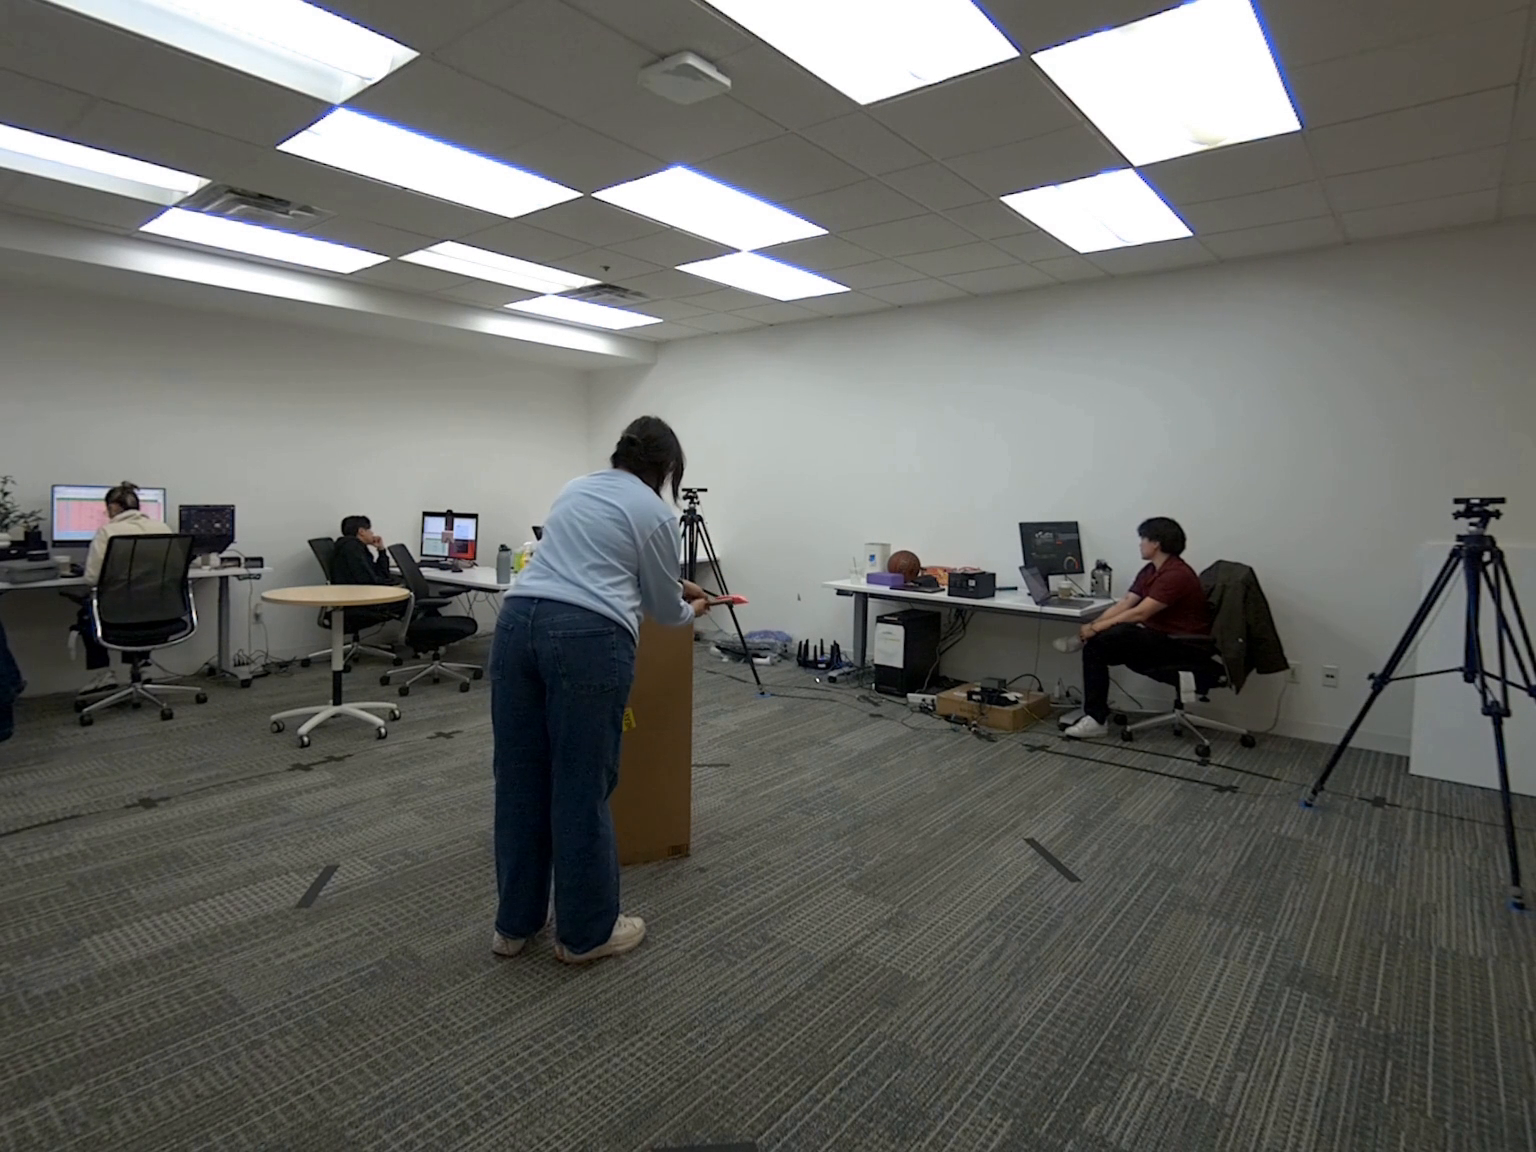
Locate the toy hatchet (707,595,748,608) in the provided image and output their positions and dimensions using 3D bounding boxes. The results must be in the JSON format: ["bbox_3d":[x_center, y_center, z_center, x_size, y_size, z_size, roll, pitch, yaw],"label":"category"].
[{"bbox_3d":[-0.215,0.094,3.027,0.263,0.029,0.135,-1,8,-27],"label":"toy hatchet"}]
